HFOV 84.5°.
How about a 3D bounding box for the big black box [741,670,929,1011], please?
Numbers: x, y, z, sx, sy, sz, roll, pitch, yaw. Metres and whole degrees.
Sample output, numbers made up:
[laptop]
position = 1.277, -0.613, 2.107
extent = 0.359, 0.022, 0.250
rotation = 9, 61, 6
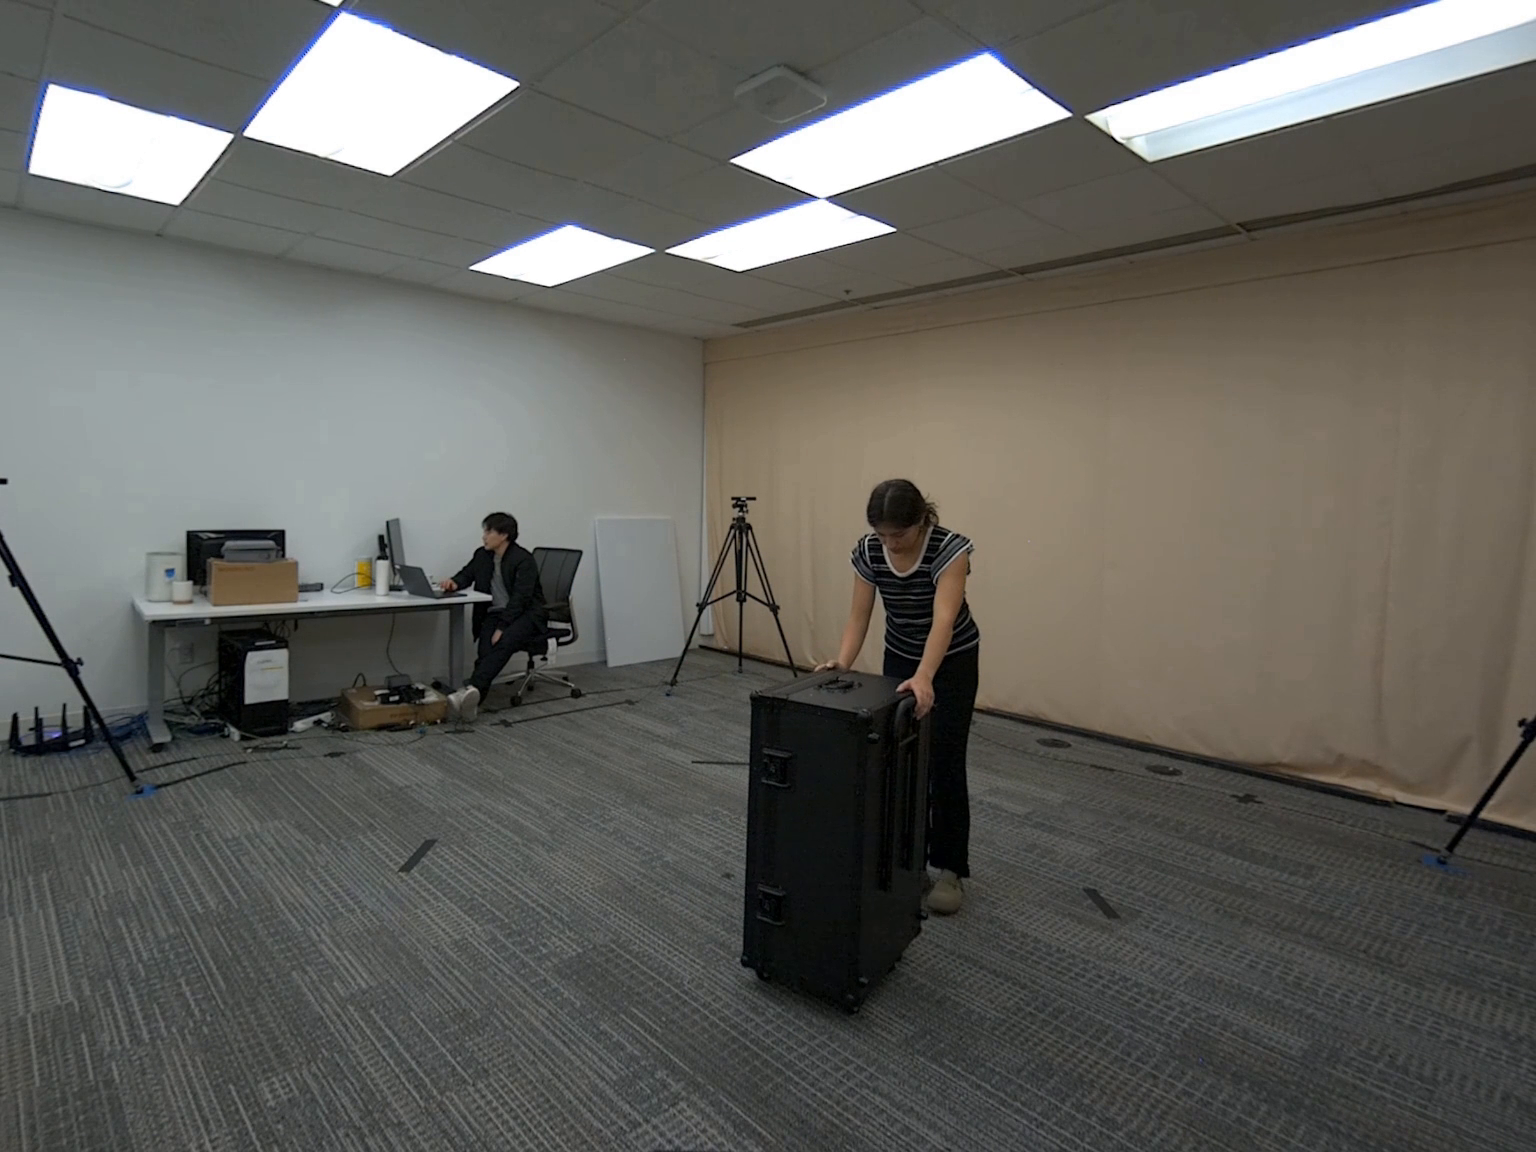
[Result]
[big black box]
position = 0.210, 0.752, 2.463
extent = 0.405, 0.859, 0.511
rotation = 5, 5, 32
